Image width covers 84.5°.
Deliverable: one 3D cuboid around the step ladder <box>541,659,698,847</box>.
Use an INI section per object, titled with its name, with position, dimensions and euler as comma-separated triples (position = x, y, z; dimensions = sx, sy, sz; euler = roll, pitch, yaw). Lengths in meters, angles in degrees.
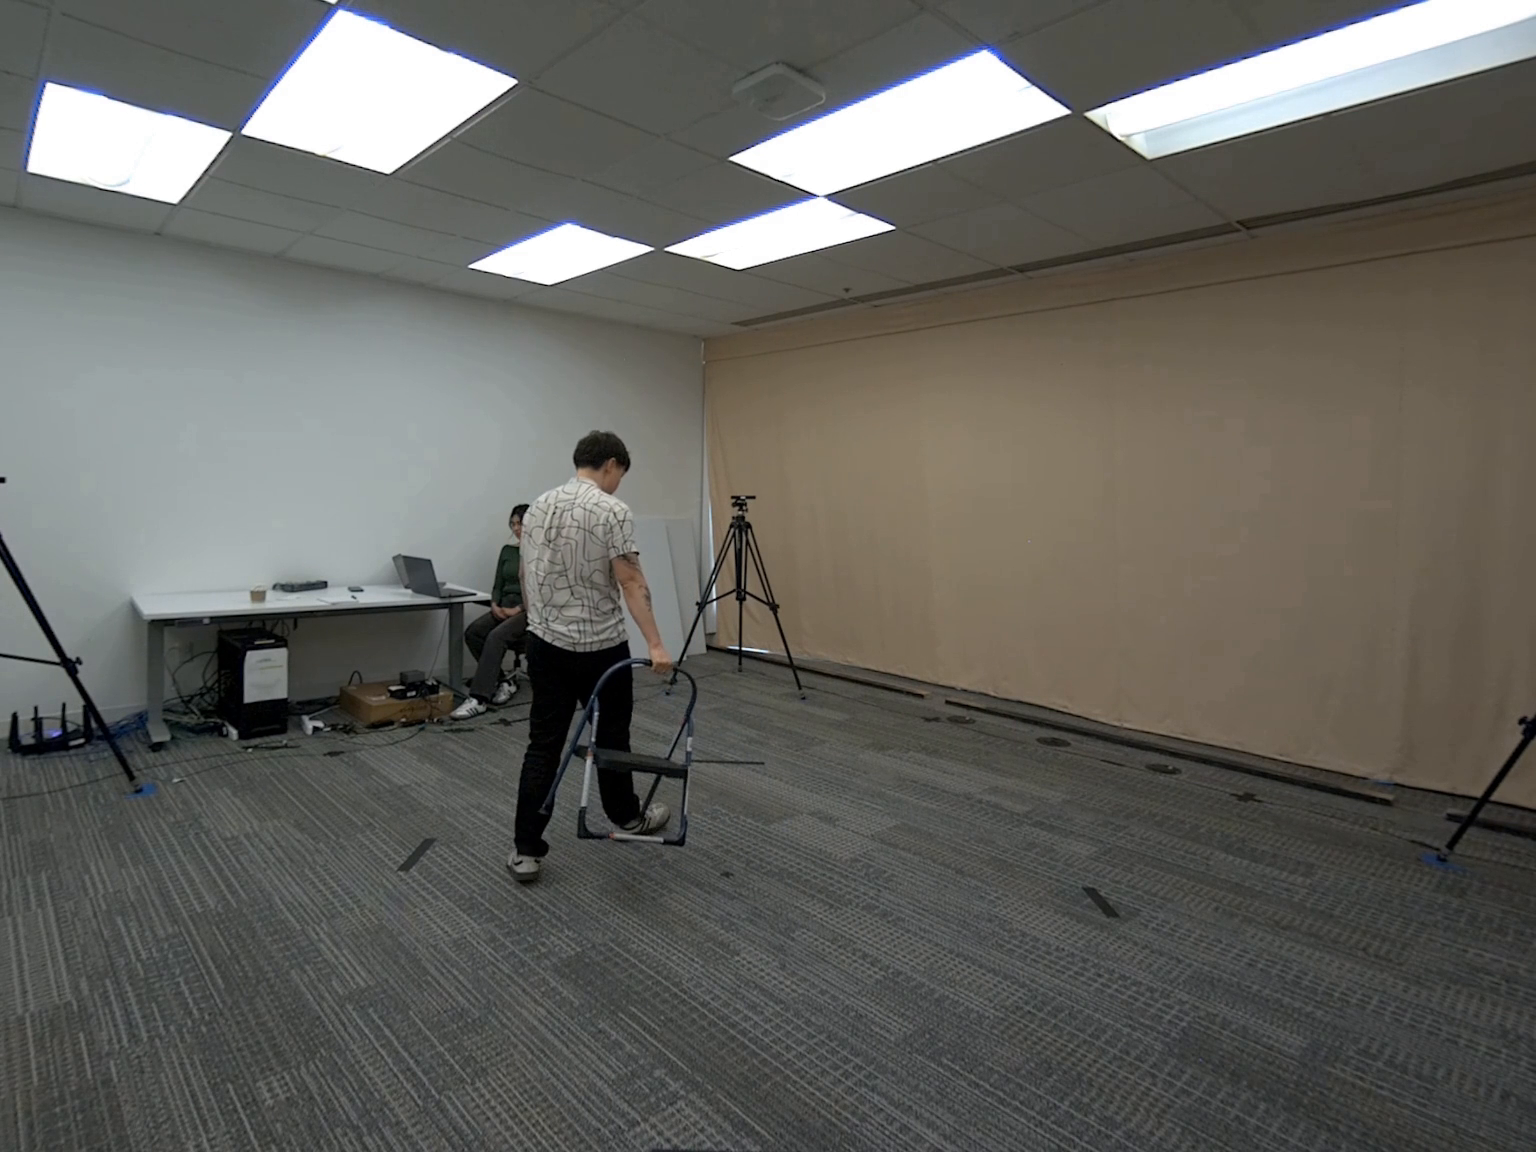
[step ladder]
position = -0.485, 0.600, 3.005
dimensions = 0.419, 0.608, 0.357
euler = 17, -9, -35
